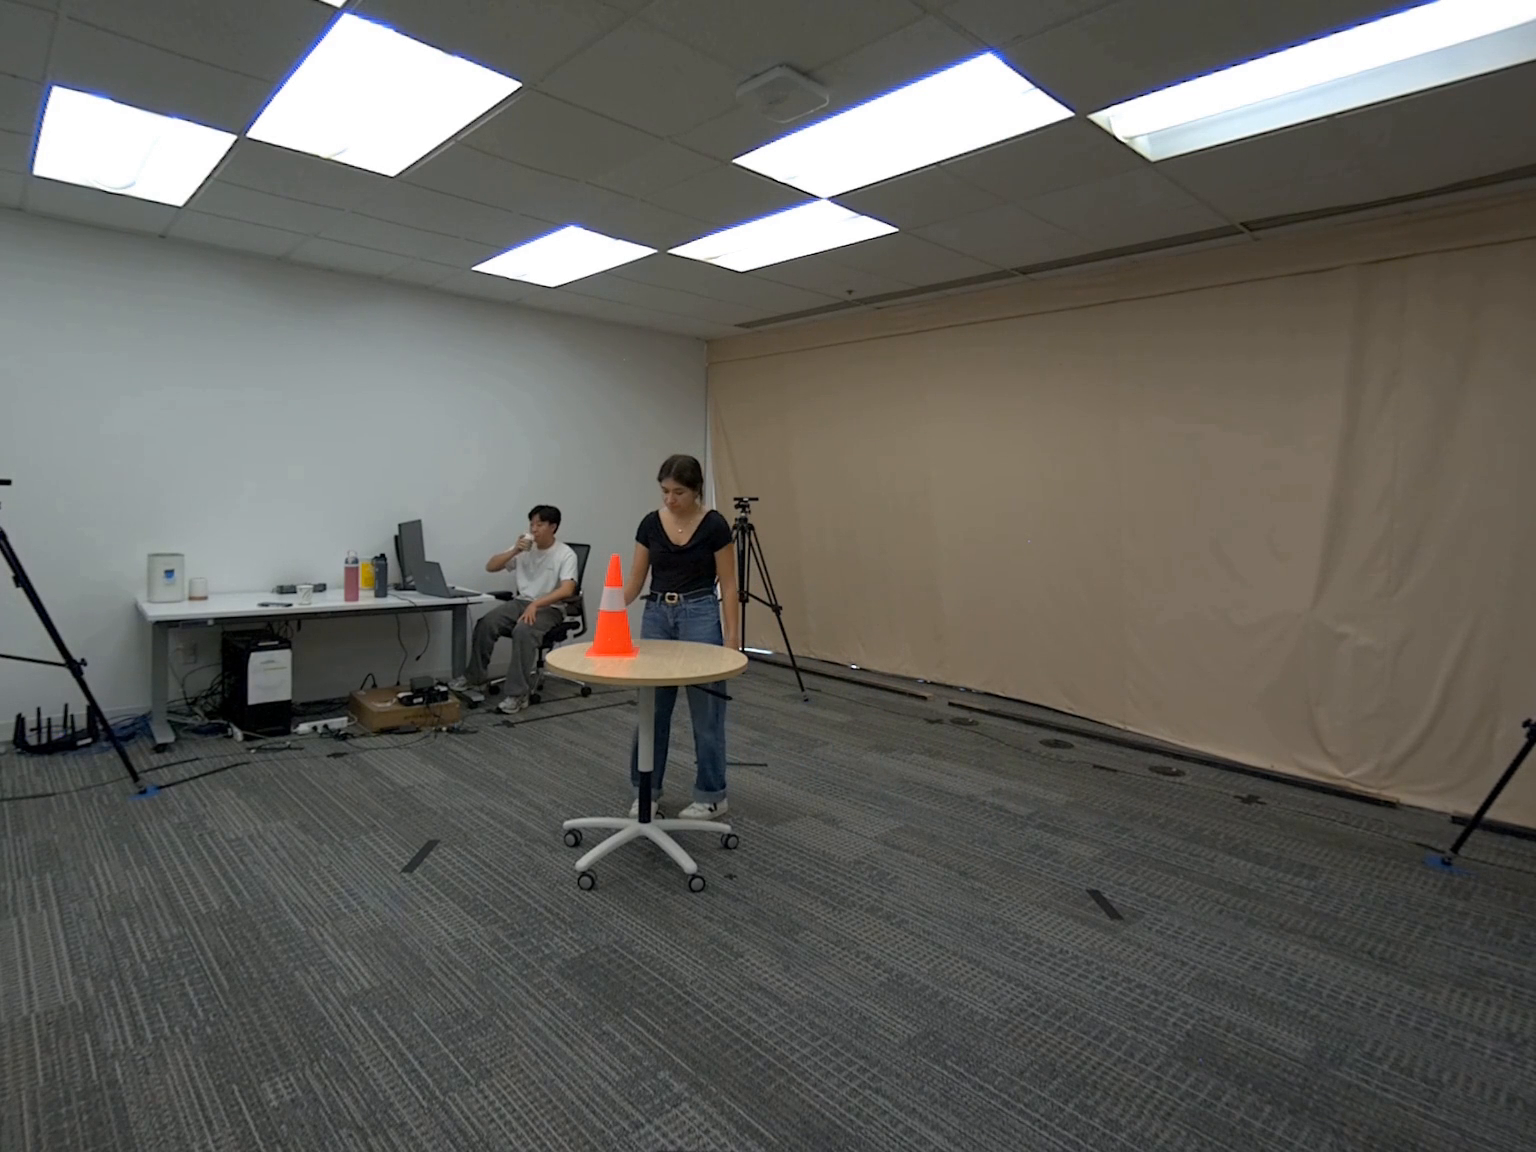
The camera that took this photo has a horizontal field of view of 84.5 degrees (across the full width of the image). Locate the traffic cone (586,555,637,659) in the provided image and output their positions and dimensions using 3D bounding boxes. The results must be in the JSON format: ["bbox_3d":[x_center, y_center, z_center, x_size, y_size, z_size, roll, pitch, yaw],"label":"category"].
[{"bbox_3d":[-0.614,0.114,3.270,0.204,0.383,0.204,3,4,-5],"label":"traffic cone"}]
